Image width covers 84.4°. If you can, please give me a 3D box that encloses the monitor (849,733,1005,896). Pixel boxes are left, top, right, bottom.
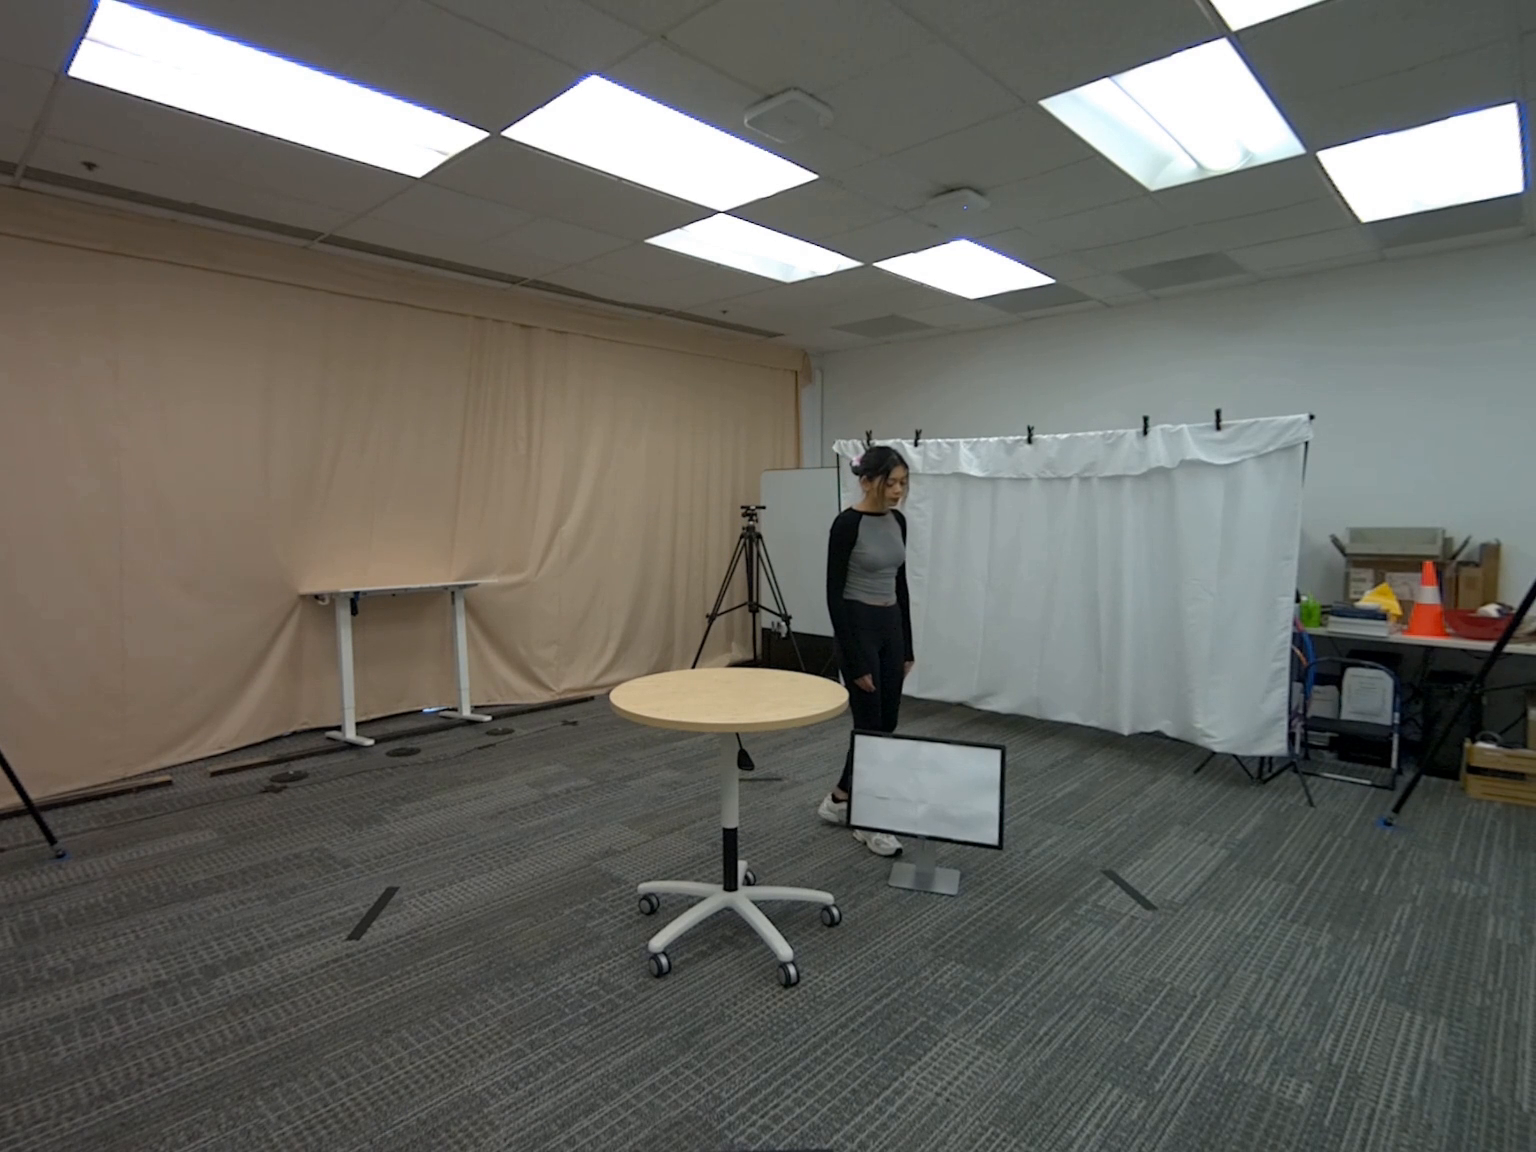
[{"bbox_3d":[0.590,0.867,3.116,0.550,0.521,0.184,2,4,19],"label":"monitor"}]
